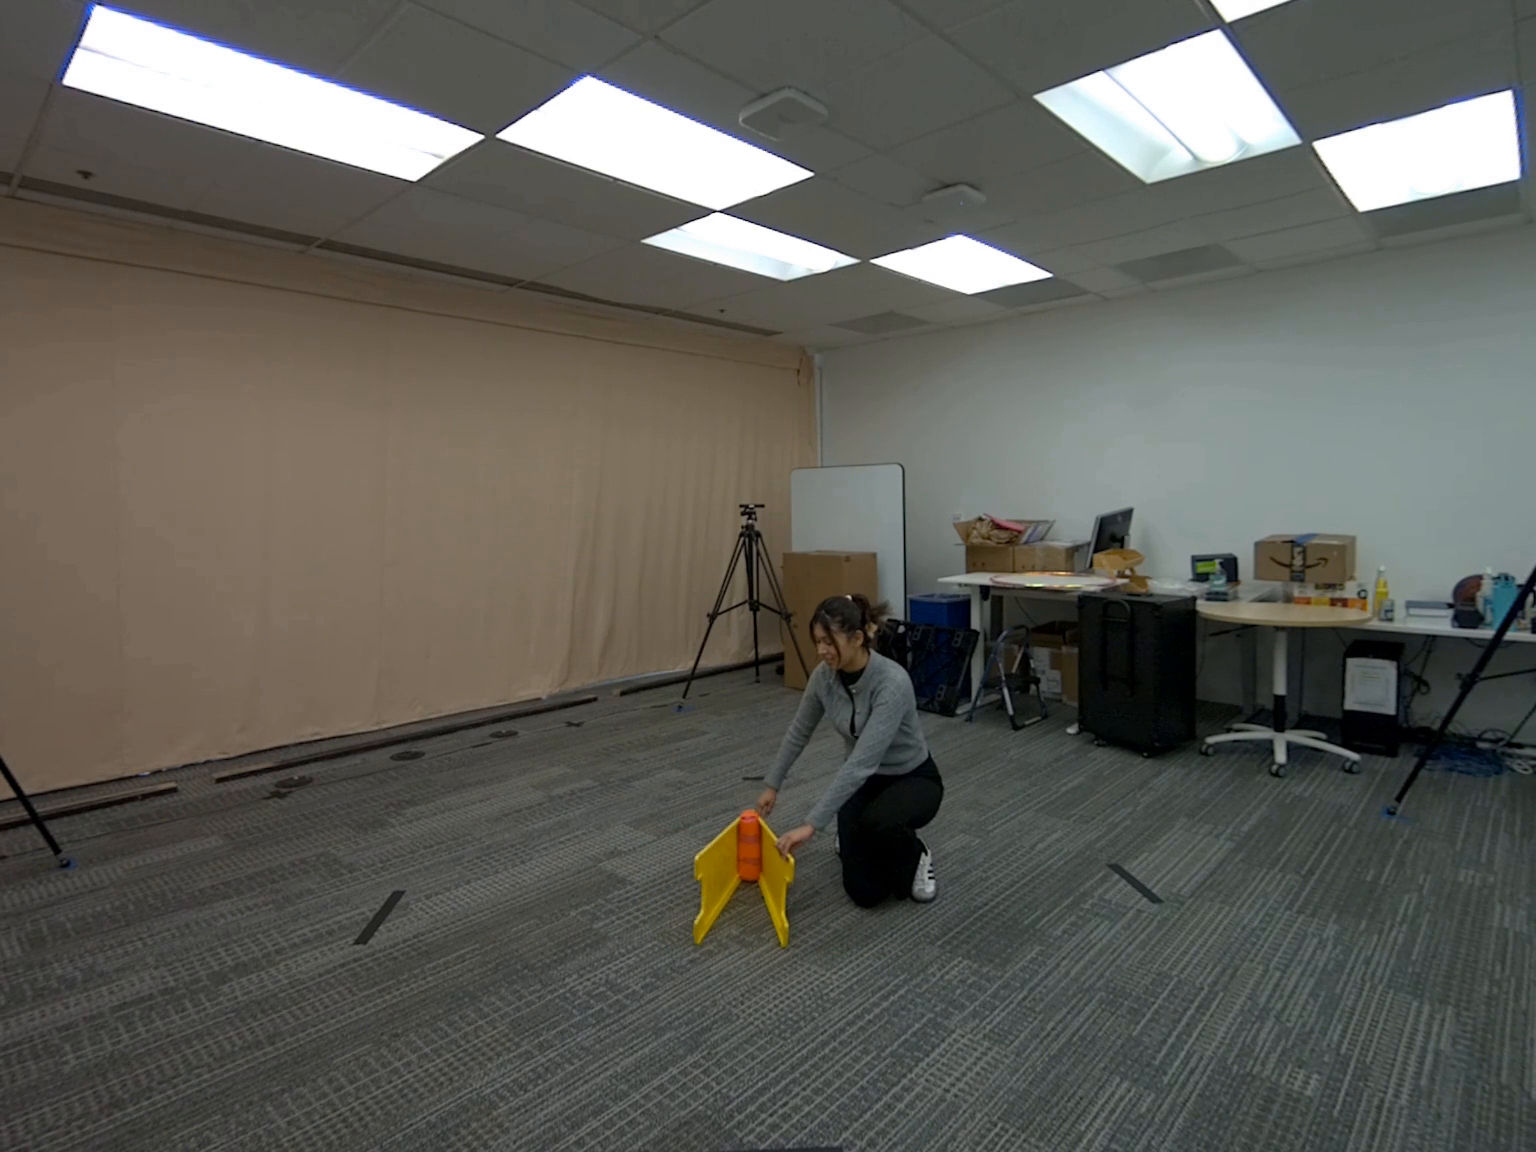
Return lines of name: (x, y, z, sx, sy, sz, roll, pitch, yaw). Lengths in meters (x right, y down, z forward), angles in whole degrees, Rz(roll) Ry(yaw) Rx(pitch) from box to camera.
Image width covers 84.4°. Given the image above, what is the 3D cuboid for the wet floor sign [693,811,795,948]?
wet floor sign: (-0.065, 1.017, 2.972, 0.291, 0.282, 0.643, 1, 2, 3)
